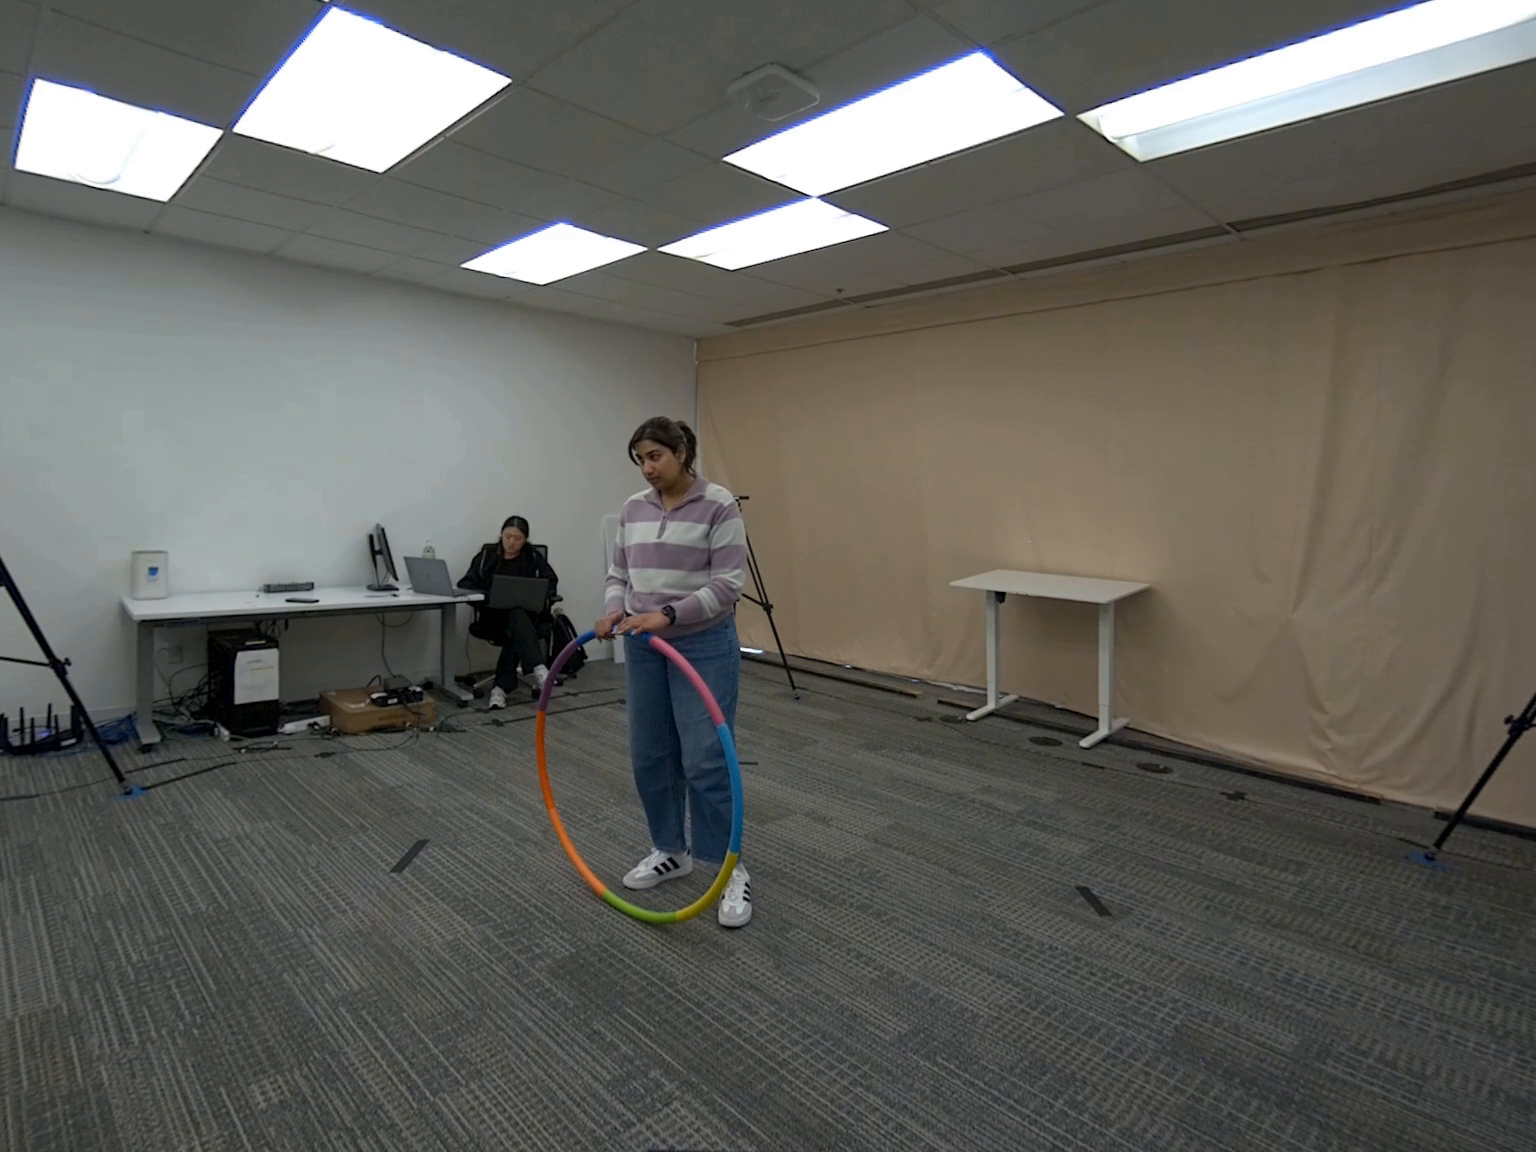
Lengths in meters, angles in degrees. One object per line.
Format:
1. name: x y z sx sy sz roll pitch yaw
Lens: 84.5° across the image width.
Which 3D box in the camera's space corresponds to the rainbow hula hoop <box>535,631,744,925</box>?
1. rainbow hula hoop: -0.460 0.643 2.760 1.010 0.982 0.050 5 7 42
